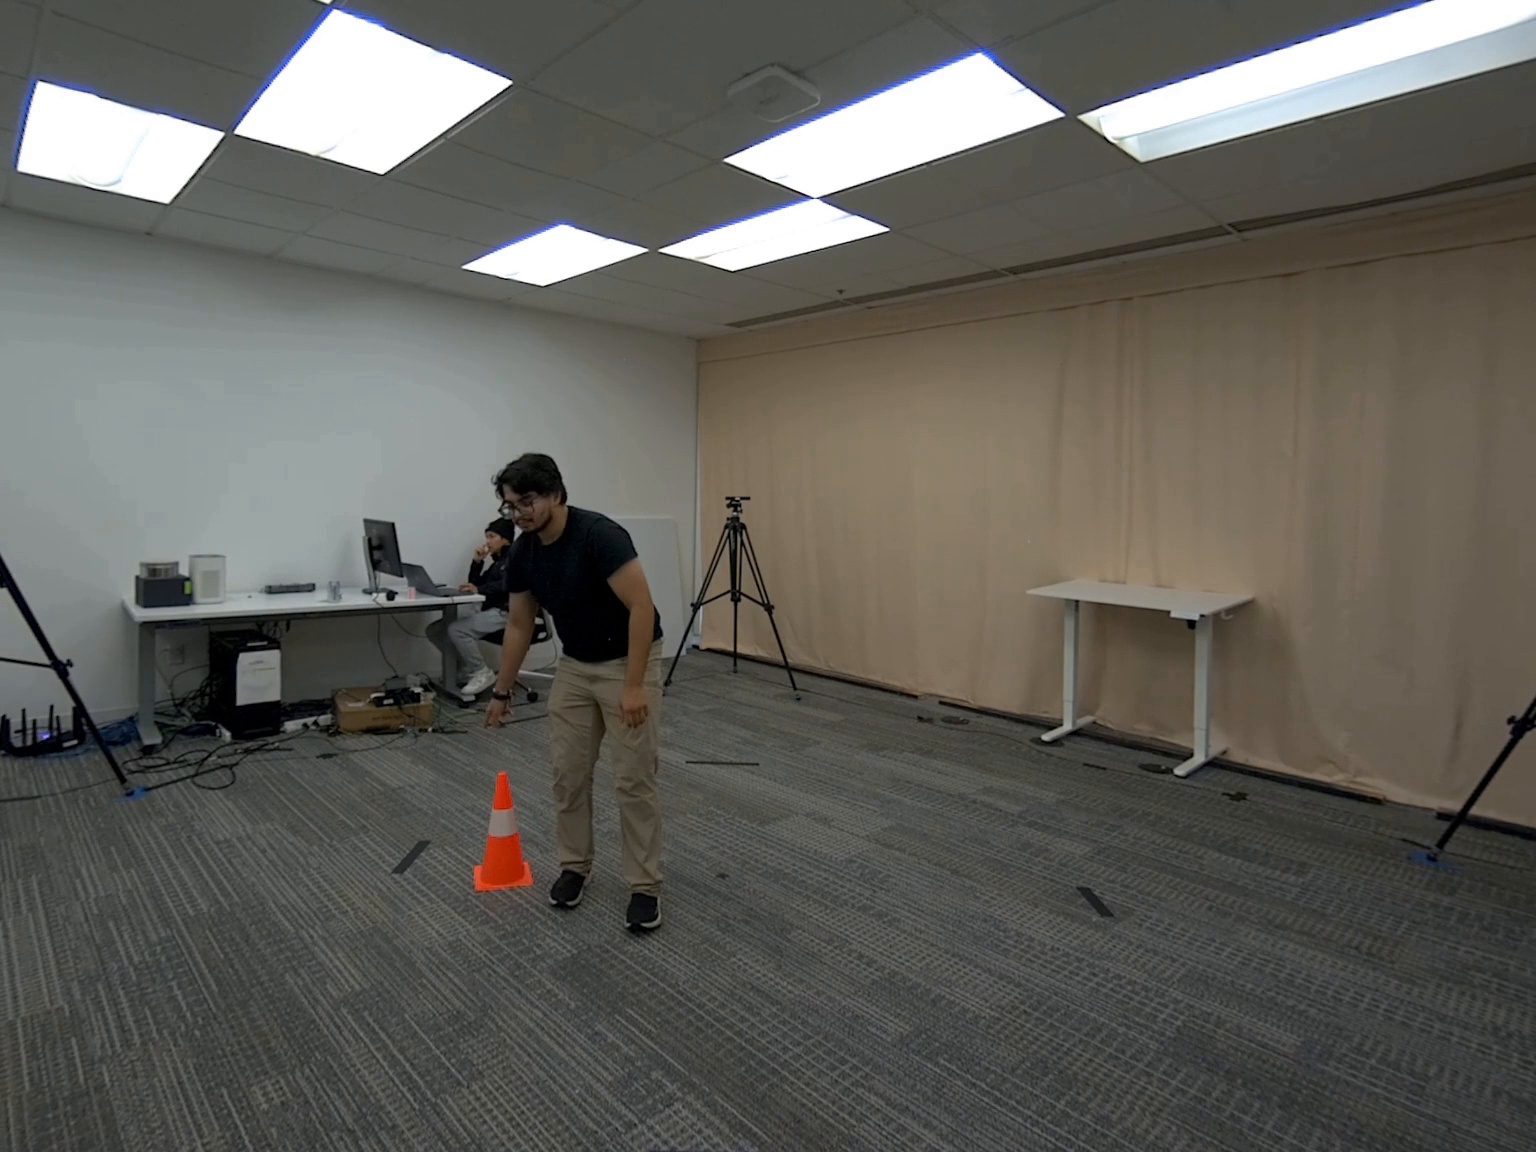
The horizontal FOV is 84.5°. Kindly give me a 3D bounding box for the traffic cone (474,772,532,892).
[{"bbox_3d":[-0.975,0.912,3.054,0.200,0.383,0.208,1,3,-21],"label":"traffic cone"}]
